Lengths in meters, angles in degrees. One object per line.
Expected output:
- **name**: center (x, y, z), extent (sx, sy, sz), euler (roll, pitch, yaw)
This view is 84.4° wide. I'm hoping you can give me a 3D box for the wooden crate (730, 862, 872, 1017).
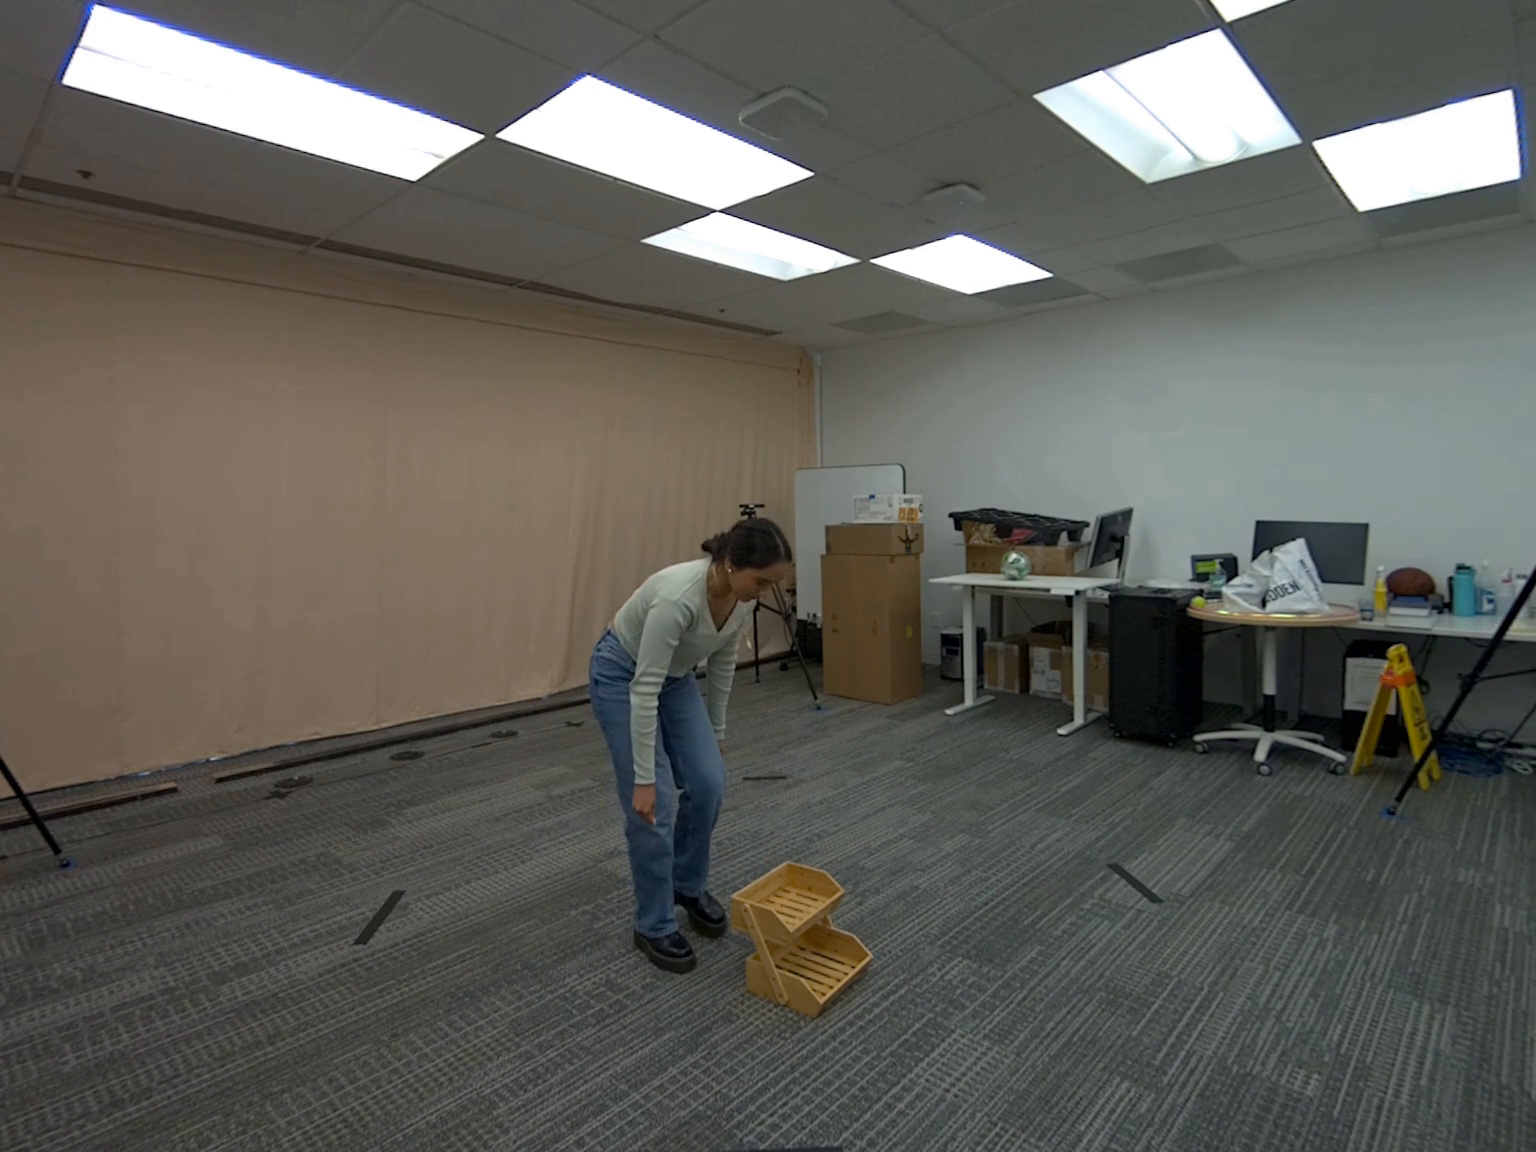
- **wooden crate**: center (0.108, 1.047, 2.465), extent (0.311, 0.273, 0.315), euler (1, 4, 37)
